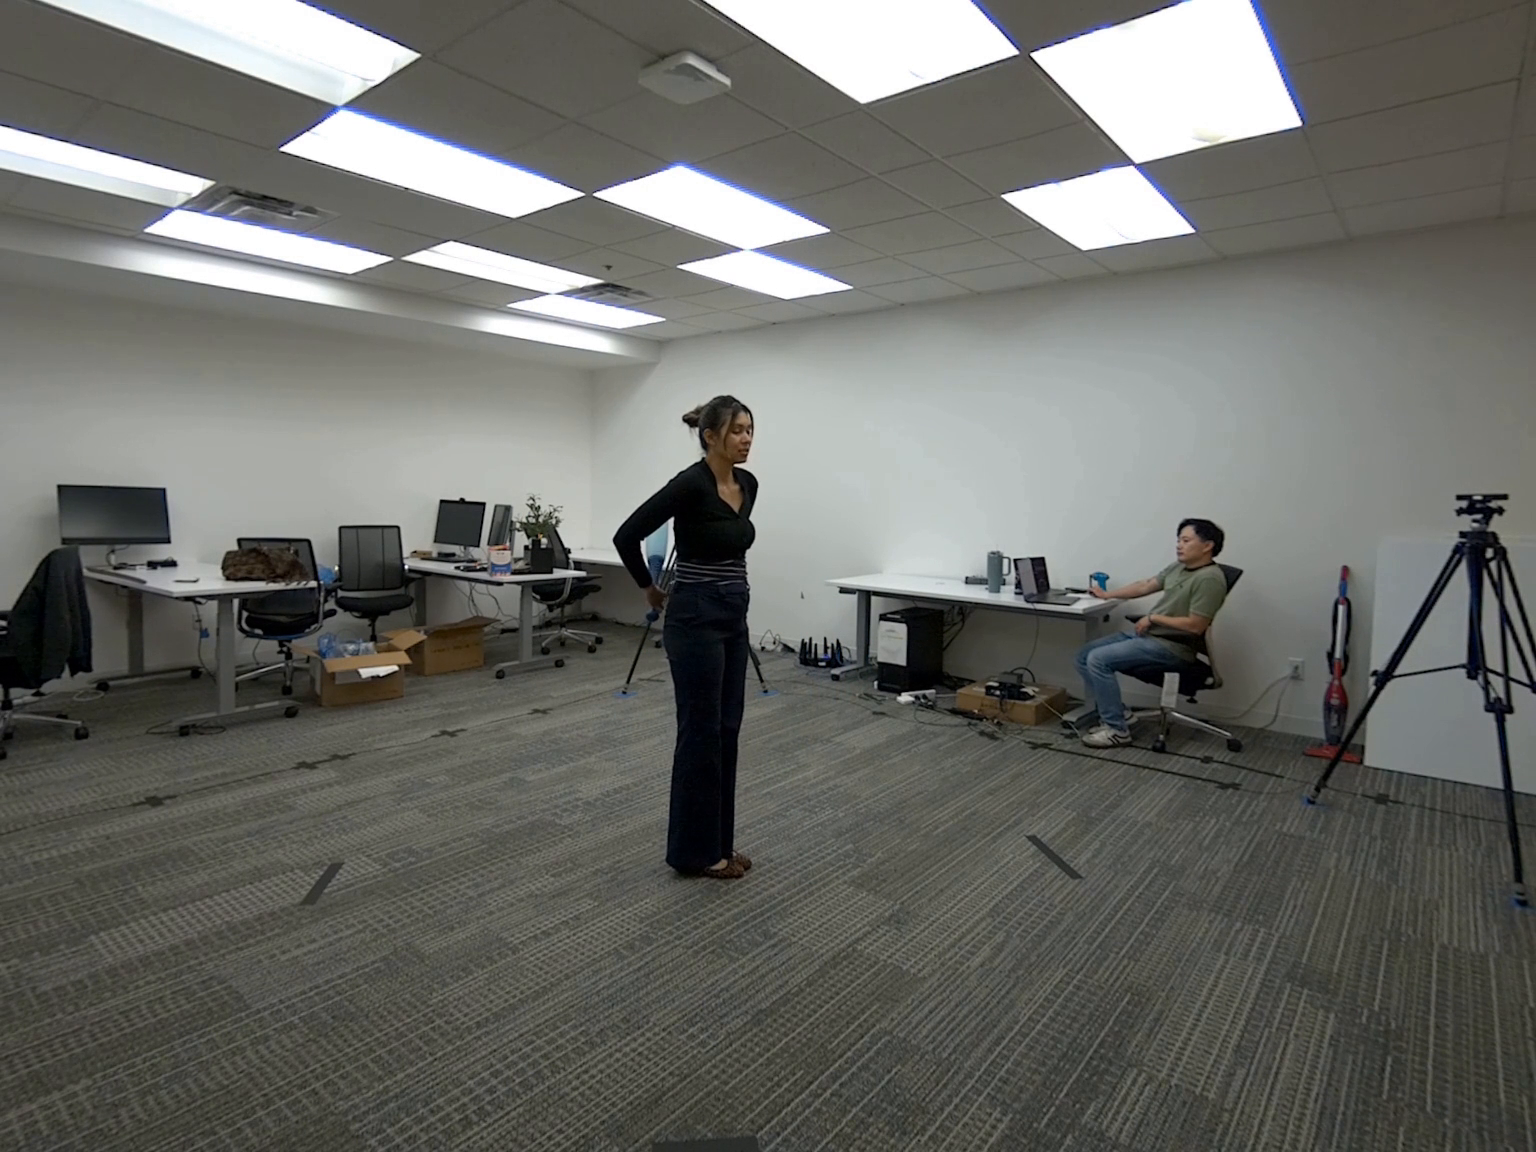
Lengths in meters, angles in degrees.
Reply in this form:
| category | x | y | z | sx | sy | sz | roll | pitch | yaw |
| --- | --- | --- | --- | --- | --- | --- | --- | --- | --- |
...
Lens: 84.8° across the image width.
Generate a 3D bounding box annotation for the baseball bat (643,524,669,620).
| category | x | y | z | sx | sy | sz | roll | pitch | yaw |
| --- | --- | --- | --- | --- | --- | --- | --- | --- | --- |
| baseball bat | -0.442 | -0.040 | 3.296 | 0.089 | 0.087 | 0.560 | 0 | 46 | -5 |
